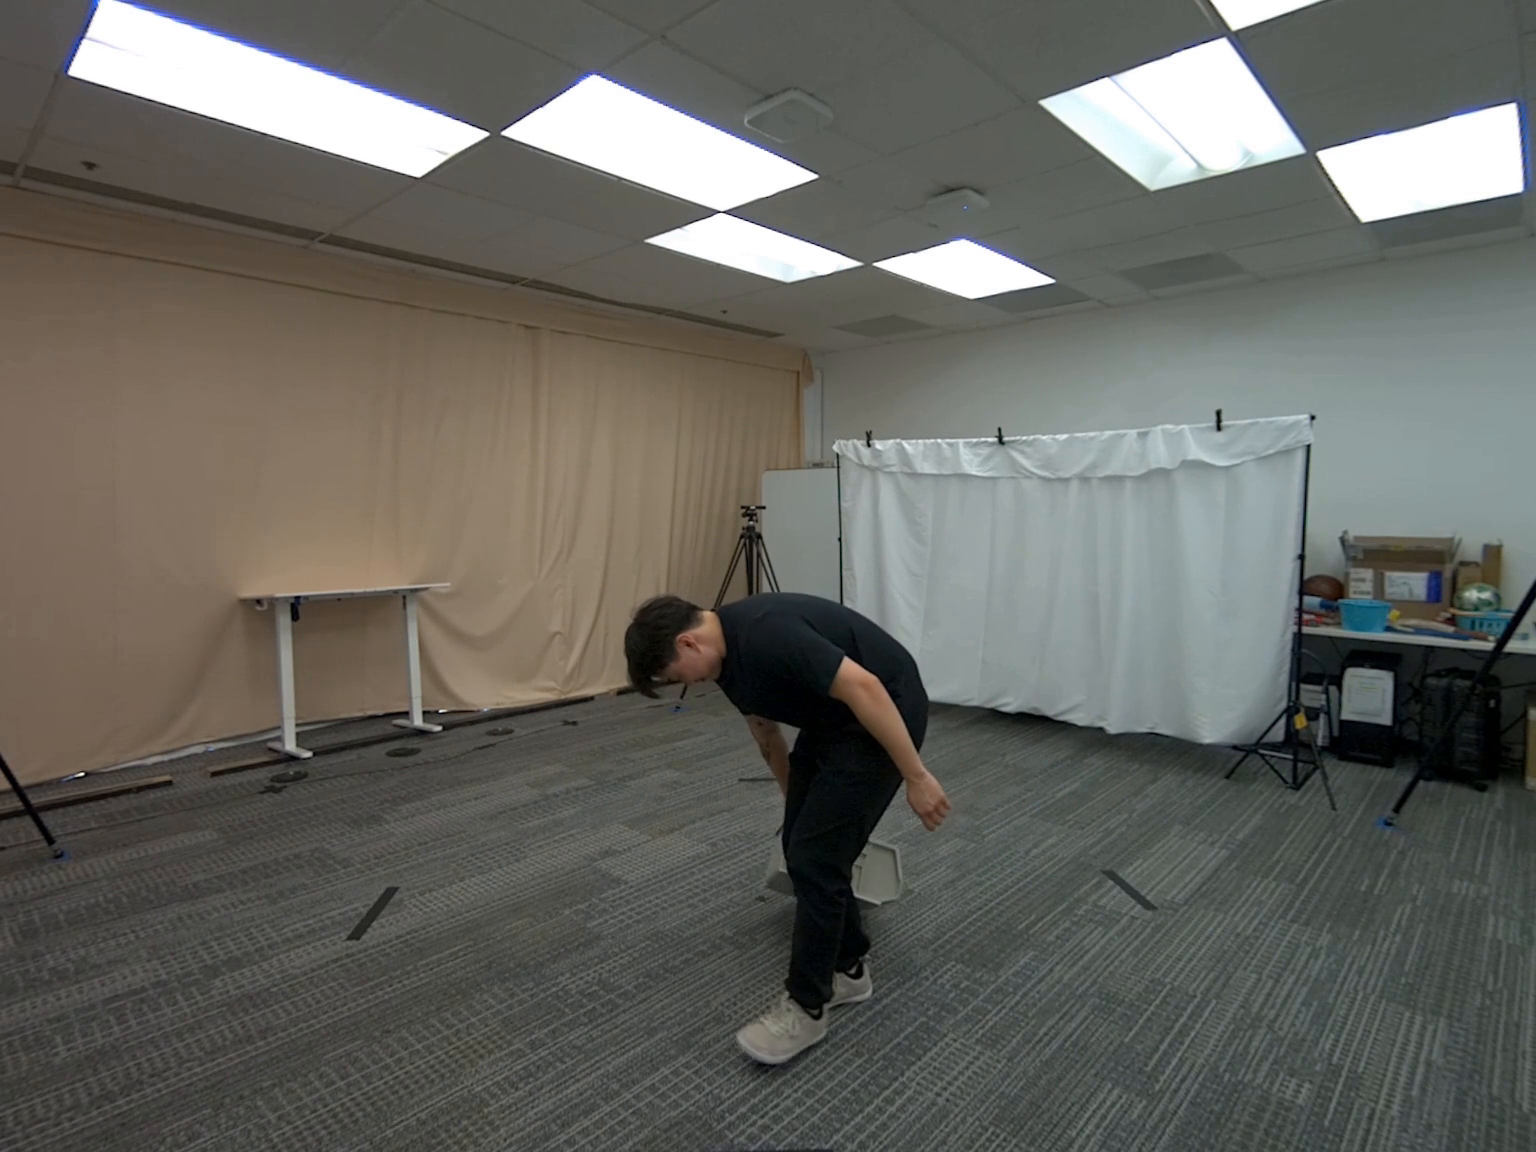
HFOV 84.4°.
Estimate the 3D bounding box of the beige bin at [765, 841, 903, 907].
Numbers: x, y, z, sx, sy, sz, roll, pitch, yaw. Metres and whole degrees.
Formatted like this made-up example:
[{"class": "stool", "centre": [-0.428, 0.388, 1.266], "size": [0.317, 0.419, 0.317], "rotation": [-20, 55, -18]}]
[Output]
[{"class": "beige bin", "centre": [0.207, 0.950, 2.728], "size": [0.378, 0.190, 0.418], "rotation": [15, -26, 1]}]
